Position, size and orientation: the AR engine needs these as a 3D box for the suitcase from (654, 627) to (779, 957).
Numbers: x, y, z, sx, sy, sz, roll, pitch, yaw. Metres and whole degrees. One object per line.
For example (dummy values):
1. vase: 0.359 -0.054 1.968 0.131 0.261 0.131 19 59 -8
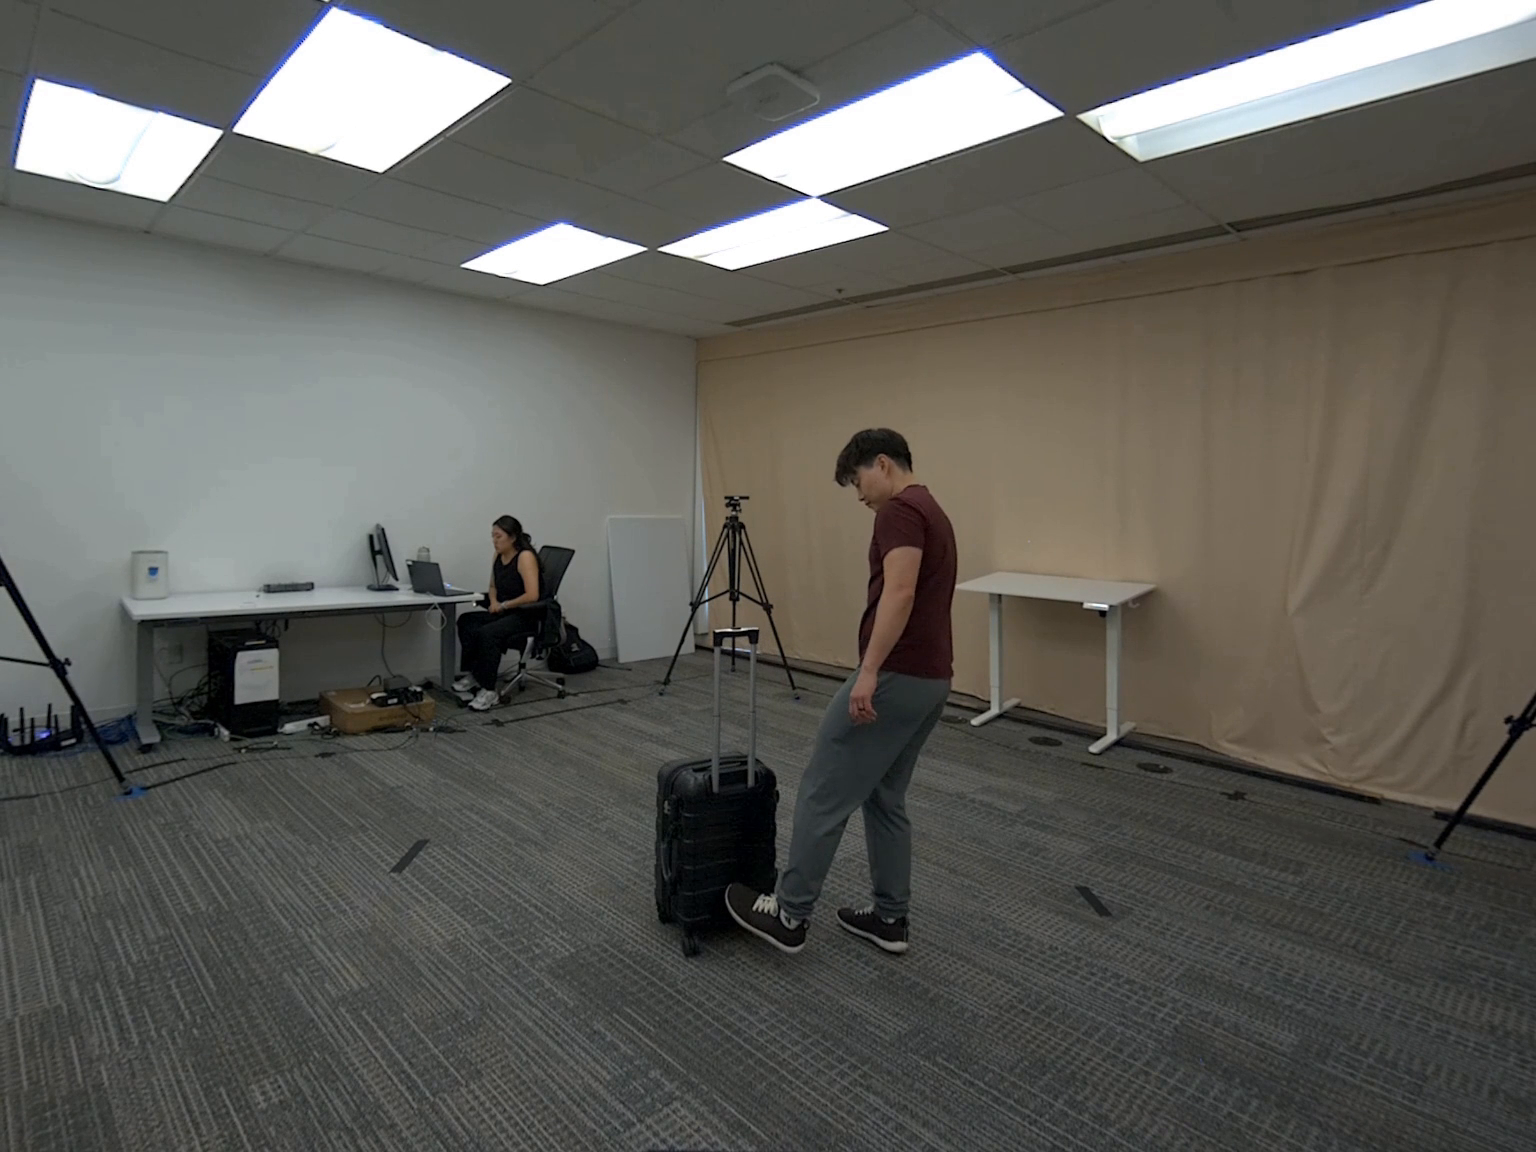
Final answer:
1. suitcase: -0.174 0.661 2.718 0.377 0.977 0.262 -1 2 -27
